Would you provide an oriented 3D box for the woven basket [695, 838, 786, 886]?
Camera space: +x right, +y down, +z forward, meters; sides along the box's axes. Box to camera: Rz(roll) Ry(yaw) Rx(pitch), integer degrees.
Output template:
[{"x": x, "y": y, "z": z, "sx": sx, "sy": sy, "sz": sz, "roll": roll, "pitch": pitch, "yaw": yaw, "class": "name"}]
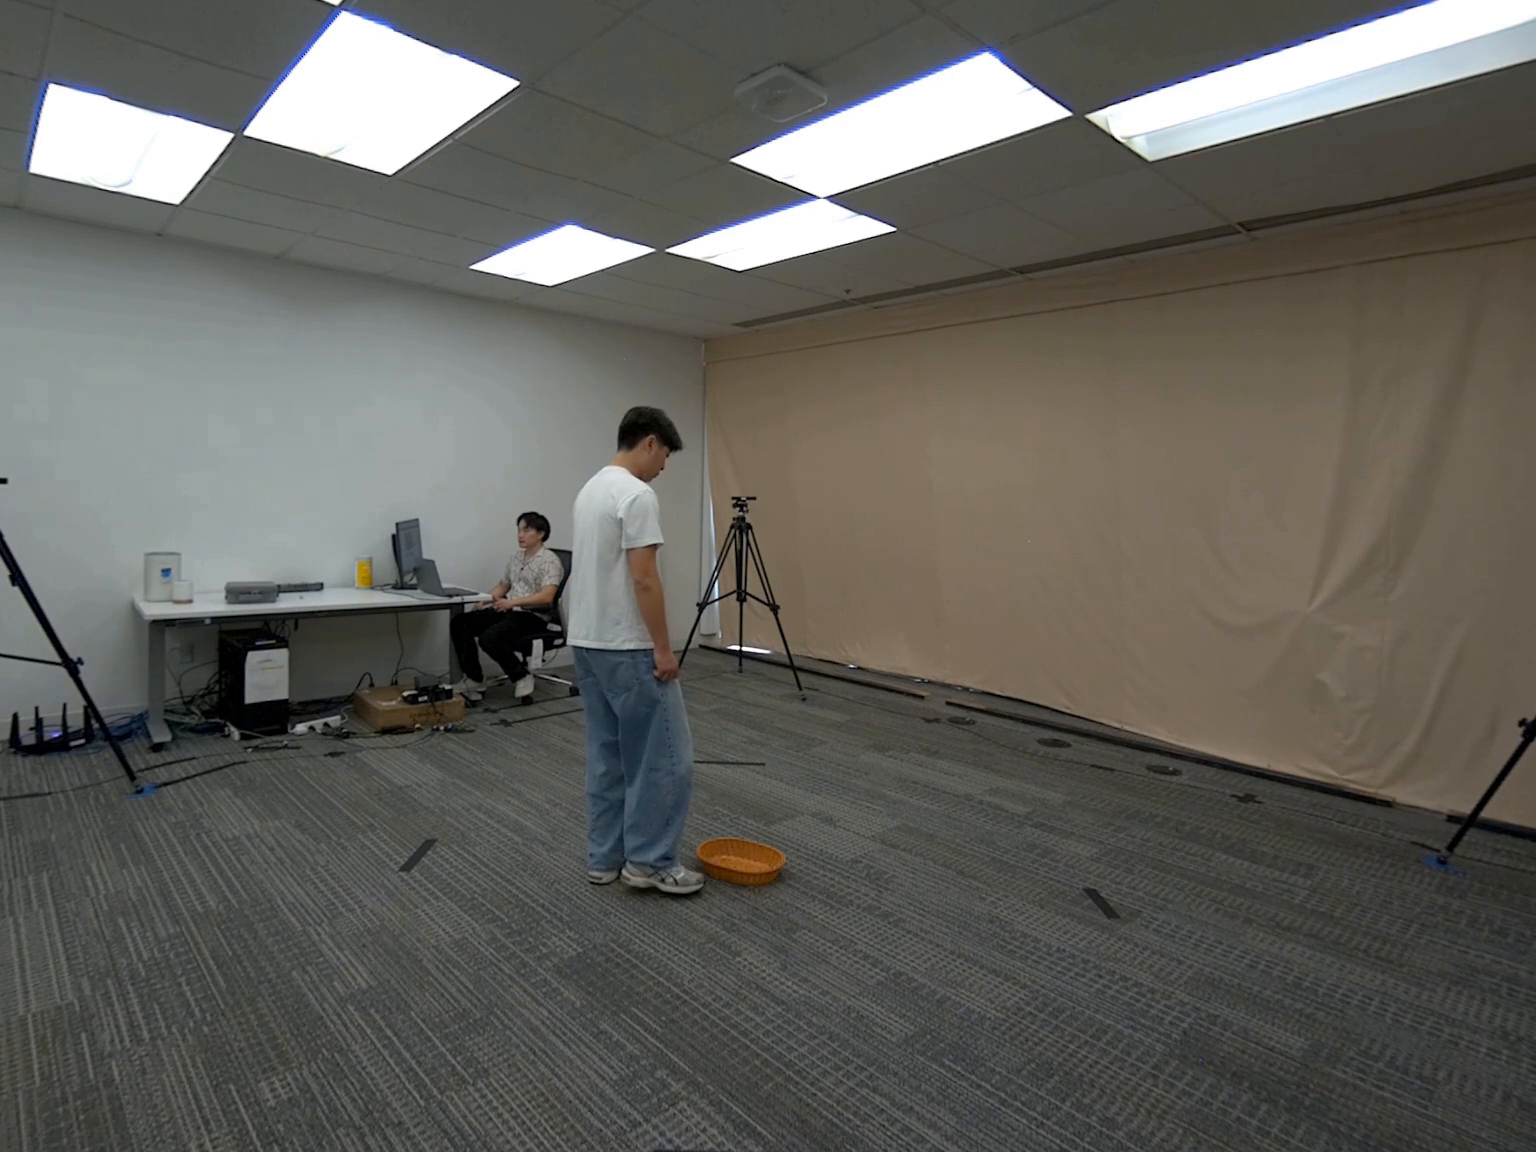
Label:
[{"x": -0.112, "y": 1.065, "z": 3.131, "sx": 0.358, "sy": 0.073, "sz": 0.248, "roll": 5, "pitch": 7, "yaw": 30, "class": "woven basket"}]
